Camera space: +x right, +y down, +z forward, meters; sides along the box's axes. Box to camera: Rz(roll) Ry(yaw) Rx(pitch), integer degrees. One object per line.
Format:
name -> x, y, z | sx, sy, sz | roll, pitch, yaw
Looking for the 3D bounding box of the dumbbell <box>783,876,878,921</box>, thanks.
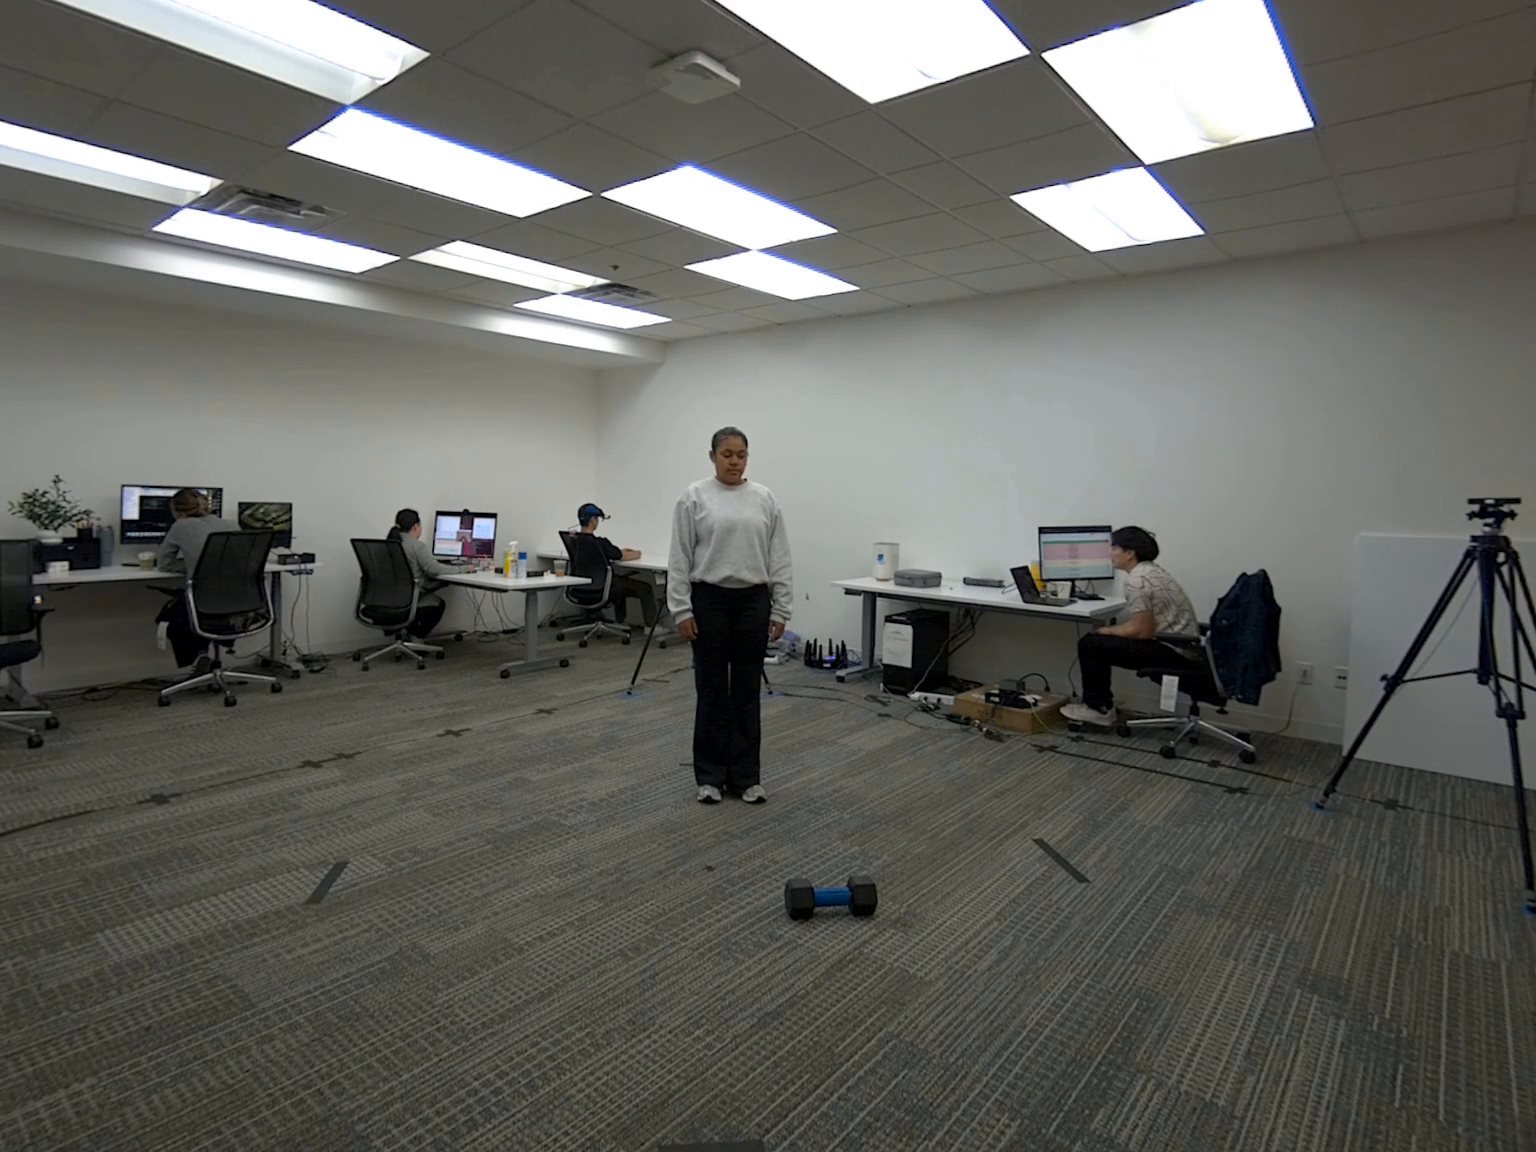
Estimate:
dumbbell -> 0.201, 1.053, 2.799 | 0.290, 0.120, 0.112 | 0, 34, -10
